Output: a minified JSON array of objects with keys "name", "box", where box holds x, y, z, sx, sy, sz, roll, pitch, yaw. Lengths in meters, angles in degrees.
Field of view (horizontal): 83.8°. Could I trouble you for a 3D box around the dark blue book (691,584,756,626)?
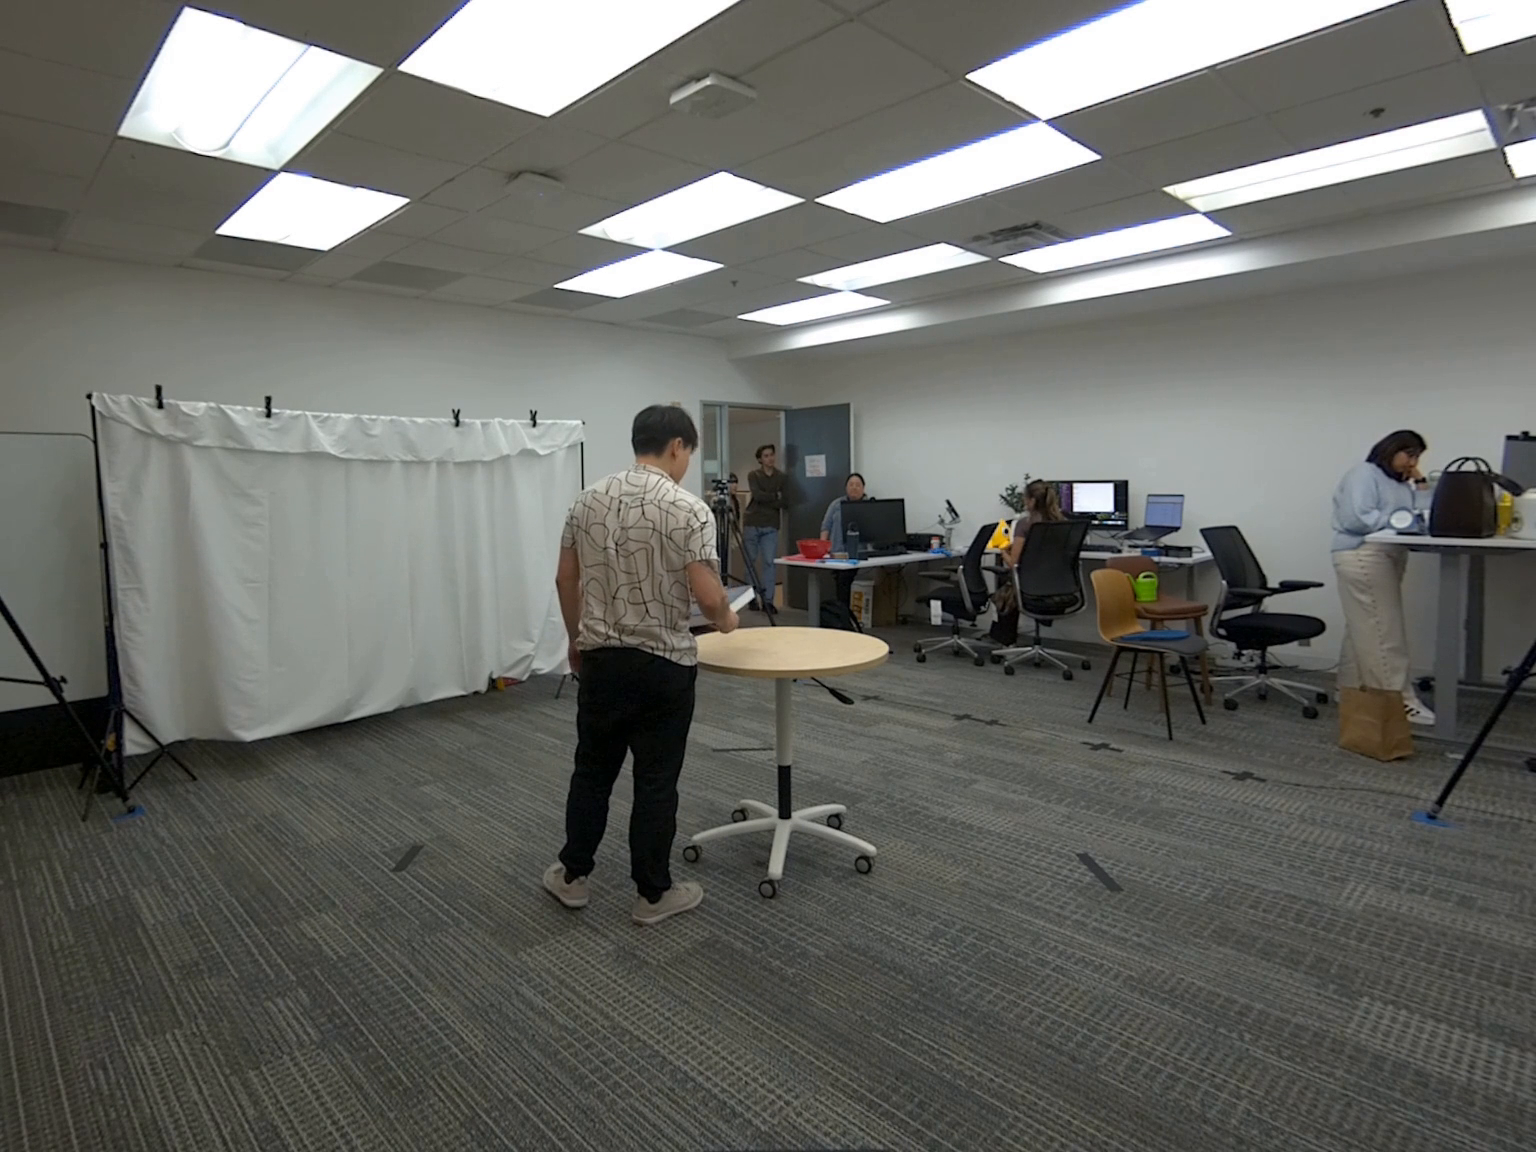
[{"name":"dark blue book","box":[-0.159,0.105,2.950,0.167,0.044,0.243,-10,15,31]}]
